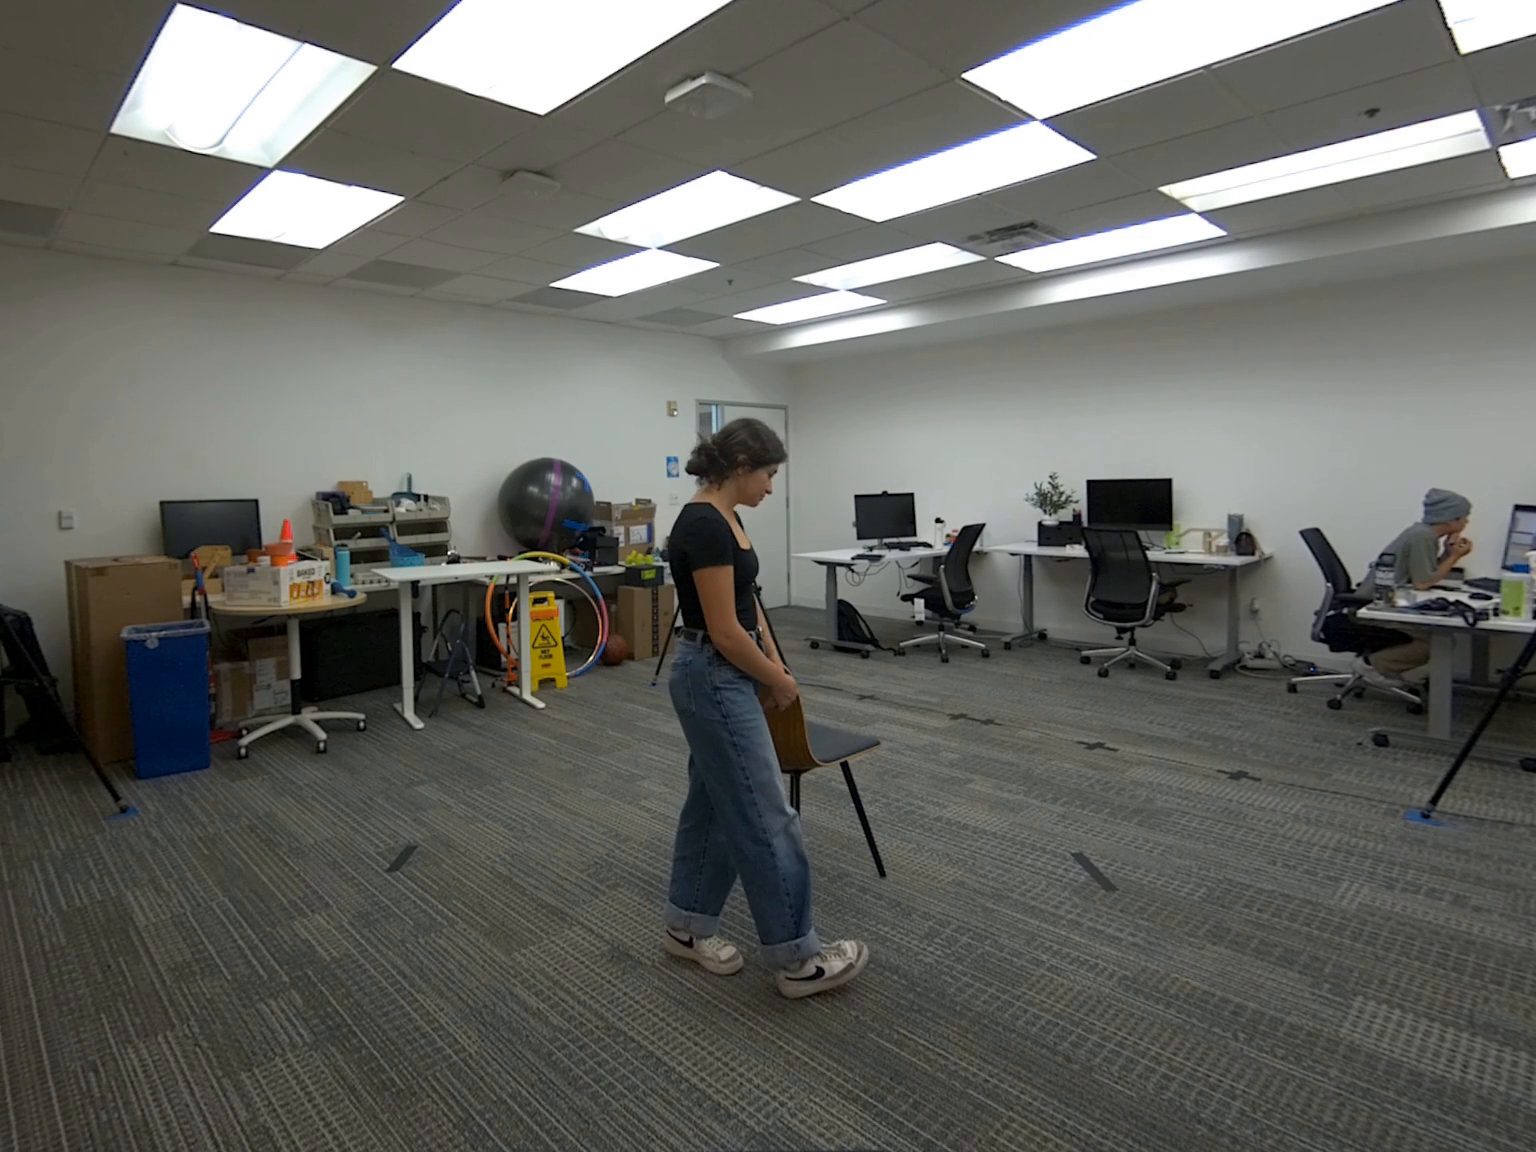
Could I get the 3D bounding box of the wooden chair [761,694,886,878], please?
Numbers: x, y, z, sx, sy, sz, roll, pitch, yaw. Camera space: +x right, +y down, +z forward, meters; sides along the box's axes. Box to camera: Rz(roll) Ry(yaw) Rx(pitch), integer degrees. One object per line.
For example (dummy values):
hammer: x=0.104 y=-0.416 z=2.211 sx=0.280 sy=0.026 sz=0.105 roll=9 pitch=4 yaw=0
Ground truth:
wooden chair: x=0.096 y=0.630 z=2.969 sx=0.511 sy=0.871 sz=0.493 roll=-11 pitch=10 yaw=-43
